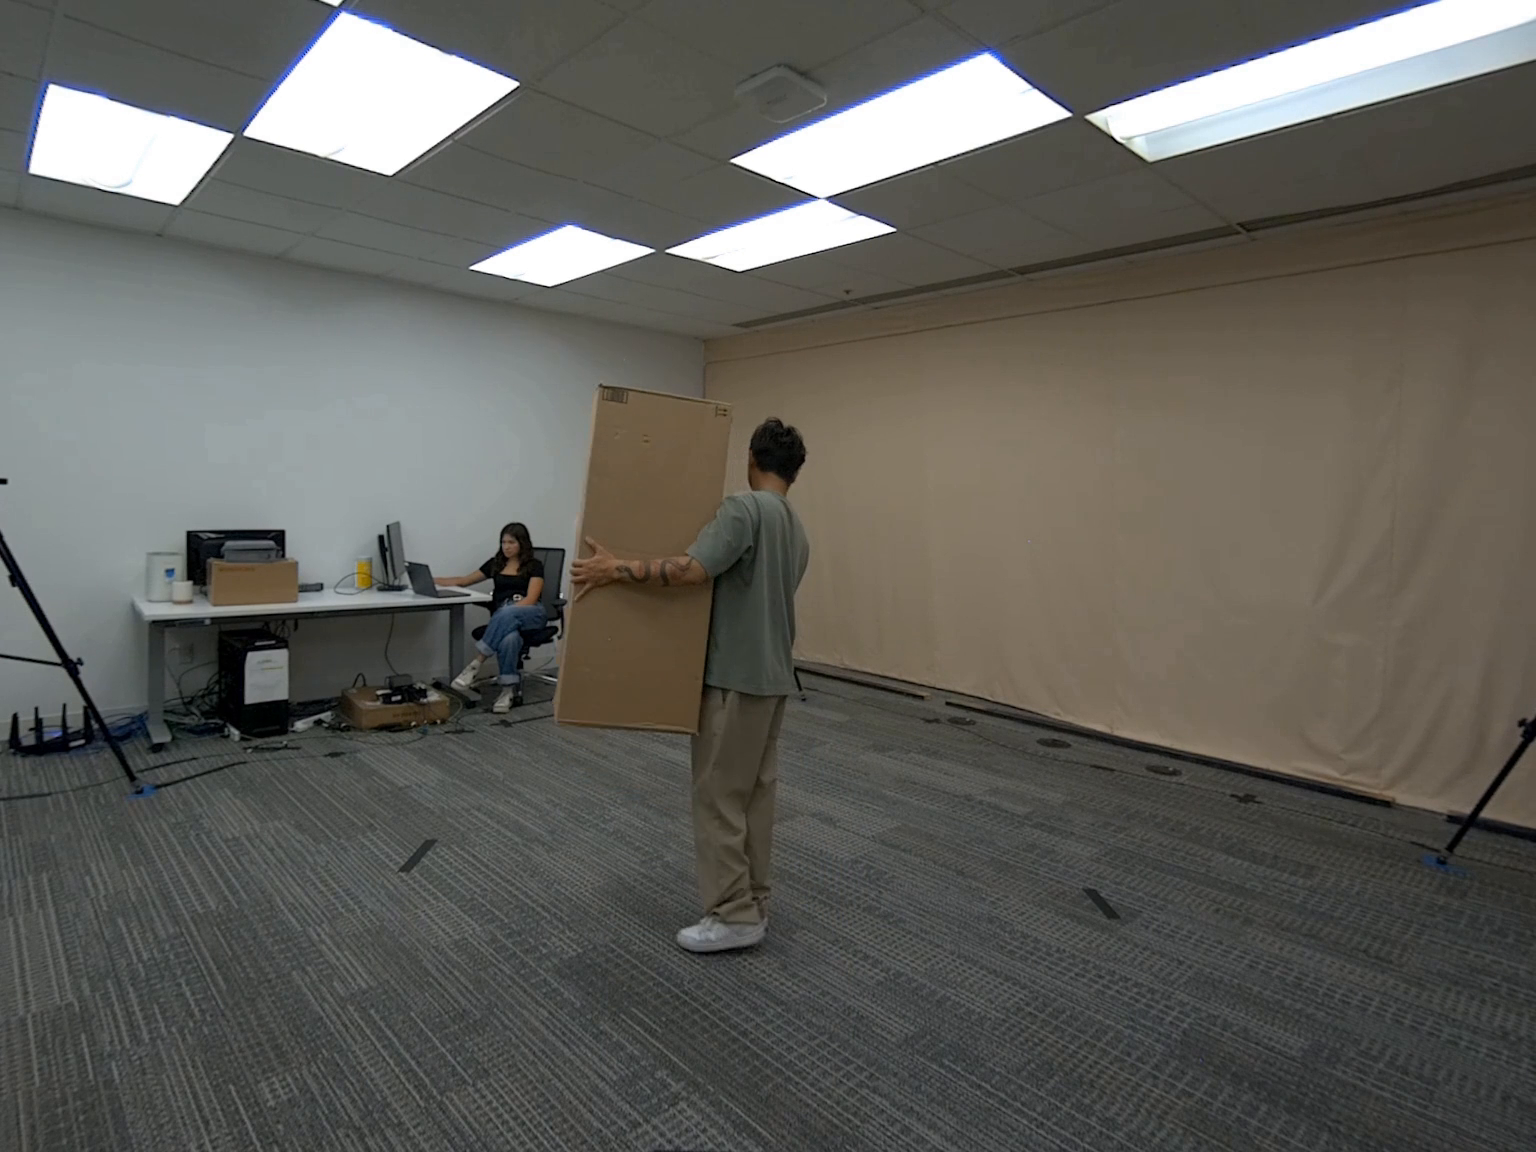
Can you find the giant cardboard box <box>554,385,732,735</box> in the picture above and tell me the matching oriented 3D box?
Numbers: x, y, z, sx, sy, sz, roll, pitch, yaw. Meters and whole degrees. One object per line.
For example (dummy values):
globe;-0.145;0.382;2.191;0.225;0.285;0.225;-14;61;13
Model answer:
giant cardboard box;-0.436;-0.037;2.805;0.422;1.029;0.581;7;-5;-12
